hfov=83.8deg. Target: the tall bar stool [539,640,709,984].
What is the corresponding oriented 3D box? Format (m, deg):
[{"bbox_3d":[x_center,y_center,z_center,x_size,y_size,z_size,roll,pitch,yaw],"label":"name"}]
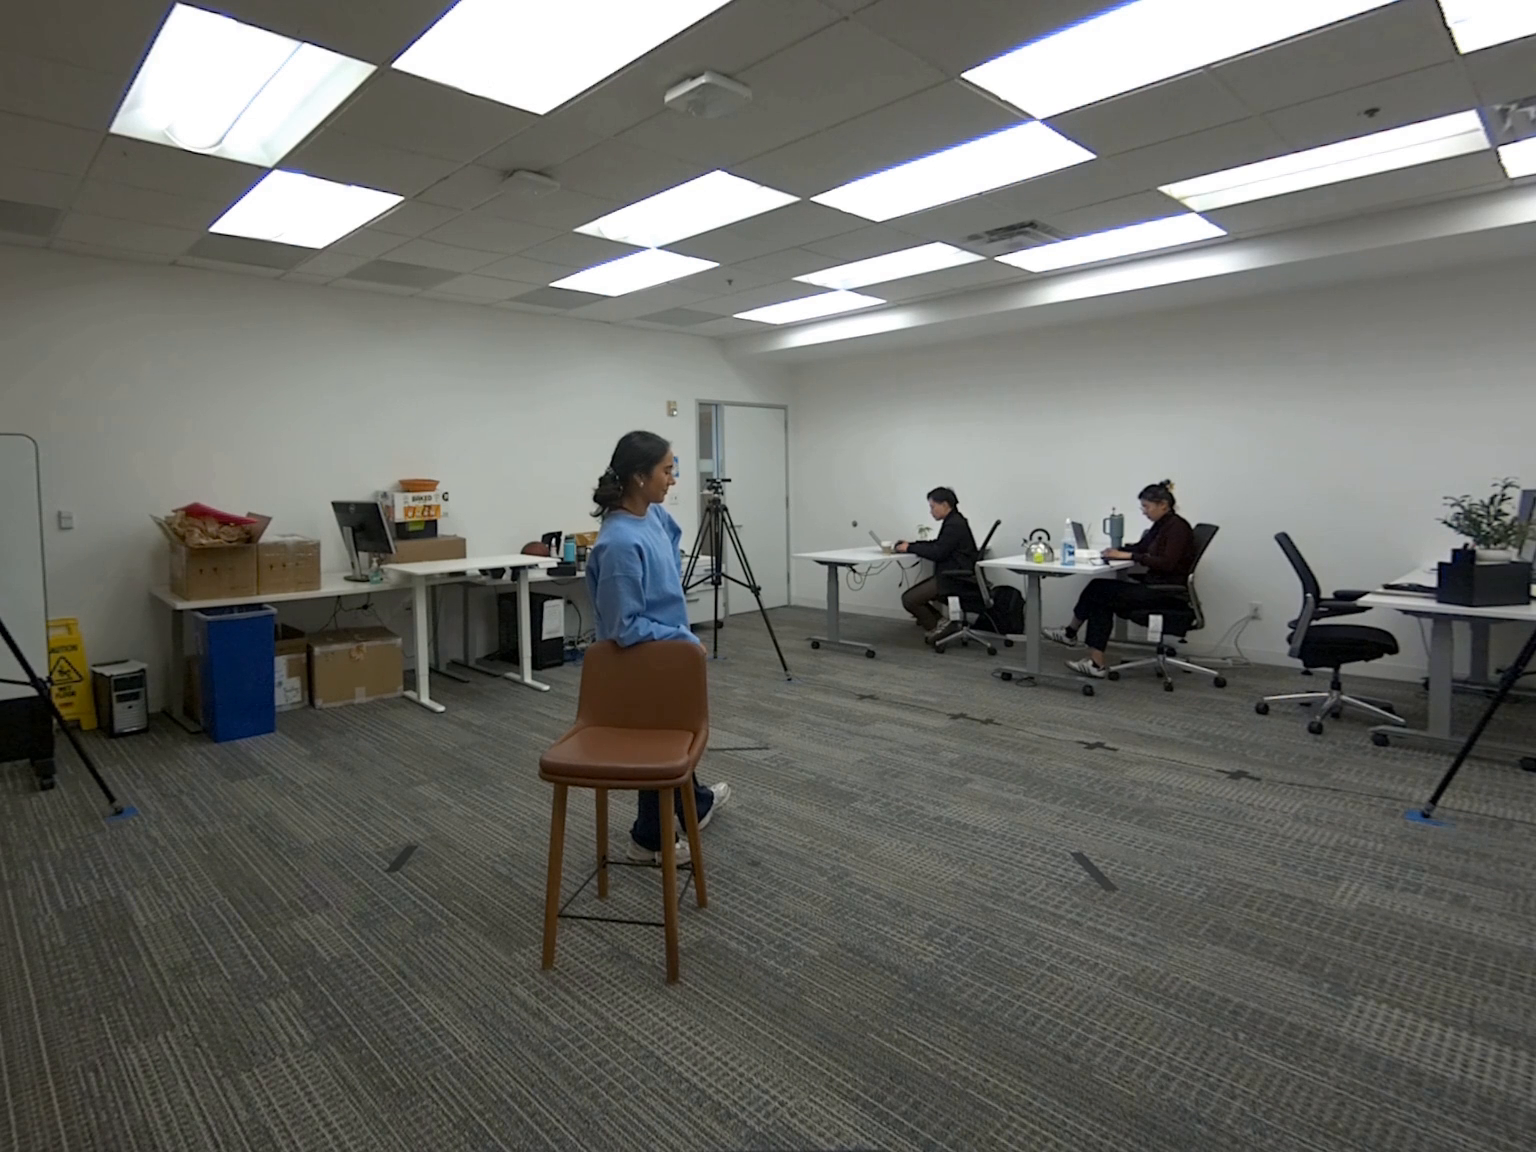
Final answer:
[{"bbox_3d":[-0.421,0.675,2.609,0.462,0.888,0.463,0,2,11],"label":"tall bar stool"}]
